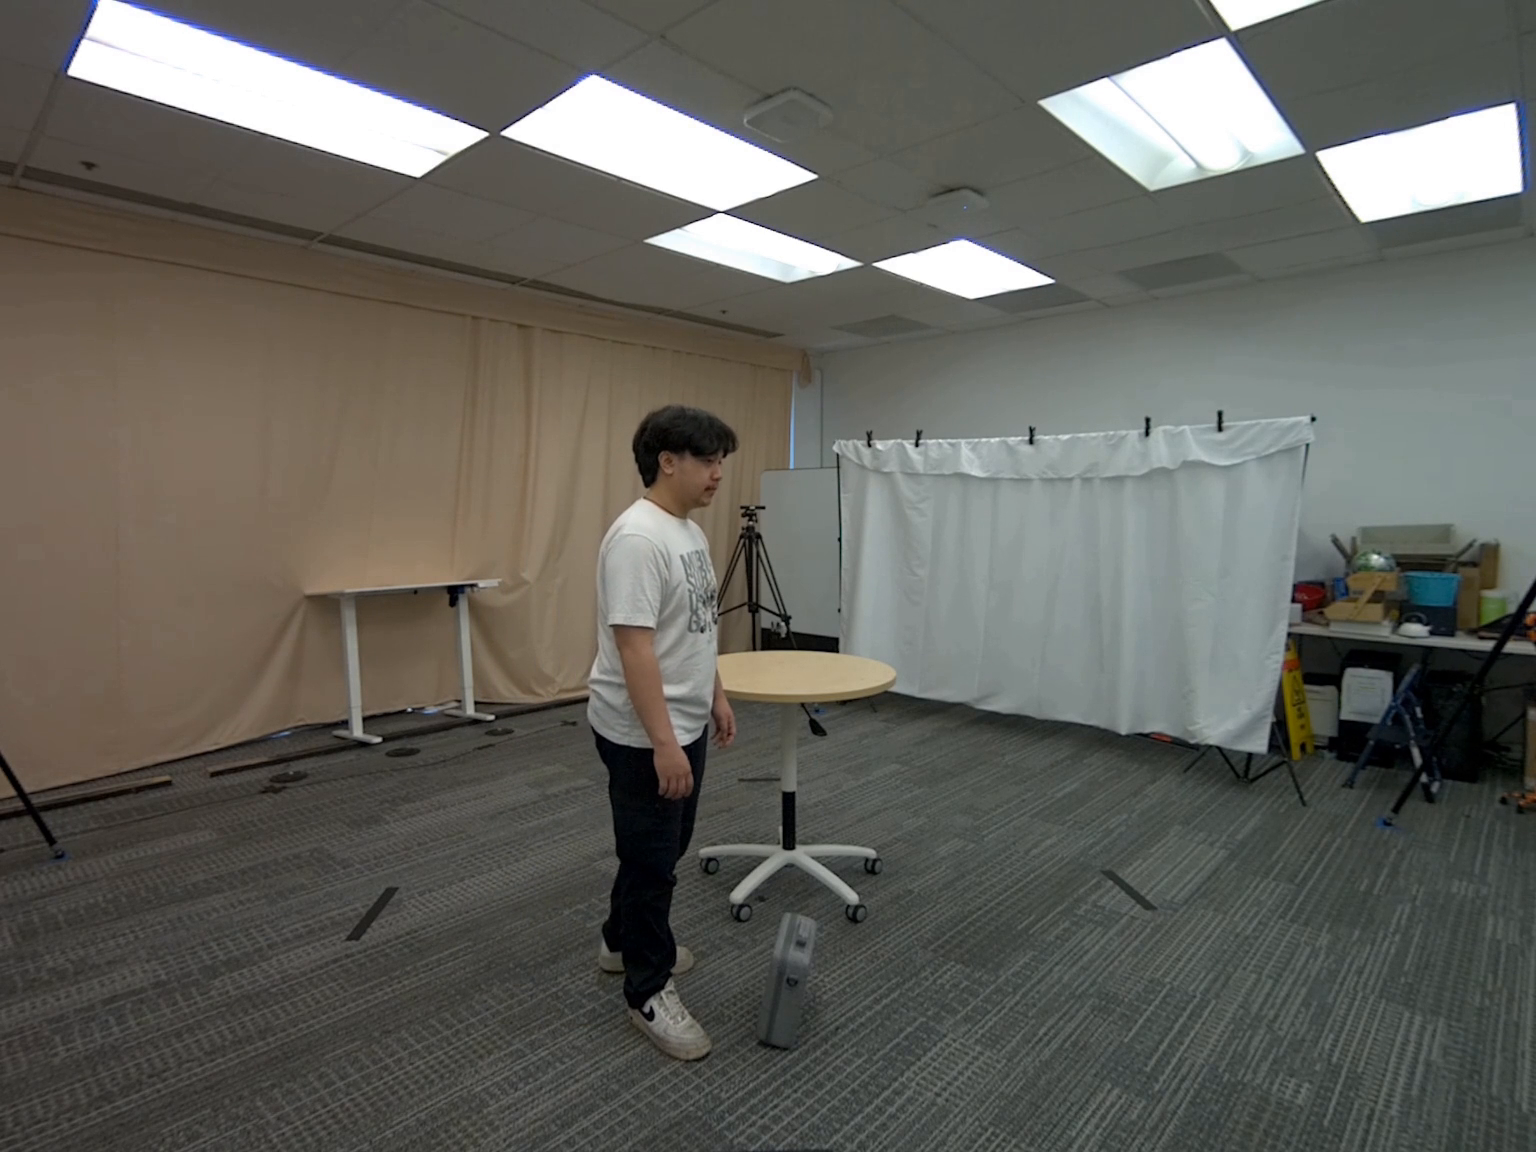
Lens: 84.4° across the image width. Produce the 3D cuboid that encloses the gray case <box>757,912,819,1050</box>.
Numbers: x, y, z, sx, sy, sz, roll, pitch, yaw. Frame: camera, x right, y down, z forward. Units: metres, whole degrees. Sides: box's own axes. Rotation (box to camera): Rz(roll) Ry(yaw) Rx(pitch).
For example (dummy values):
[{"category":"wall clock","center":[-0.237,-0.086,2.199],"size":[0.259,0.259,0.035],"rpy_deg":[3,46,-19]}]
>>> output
[{"category":"gray case","center":[0.065,1.084,2.240],"size":[0.106,0.260,0.254],"rpy_deg":[14,6,9]}]
